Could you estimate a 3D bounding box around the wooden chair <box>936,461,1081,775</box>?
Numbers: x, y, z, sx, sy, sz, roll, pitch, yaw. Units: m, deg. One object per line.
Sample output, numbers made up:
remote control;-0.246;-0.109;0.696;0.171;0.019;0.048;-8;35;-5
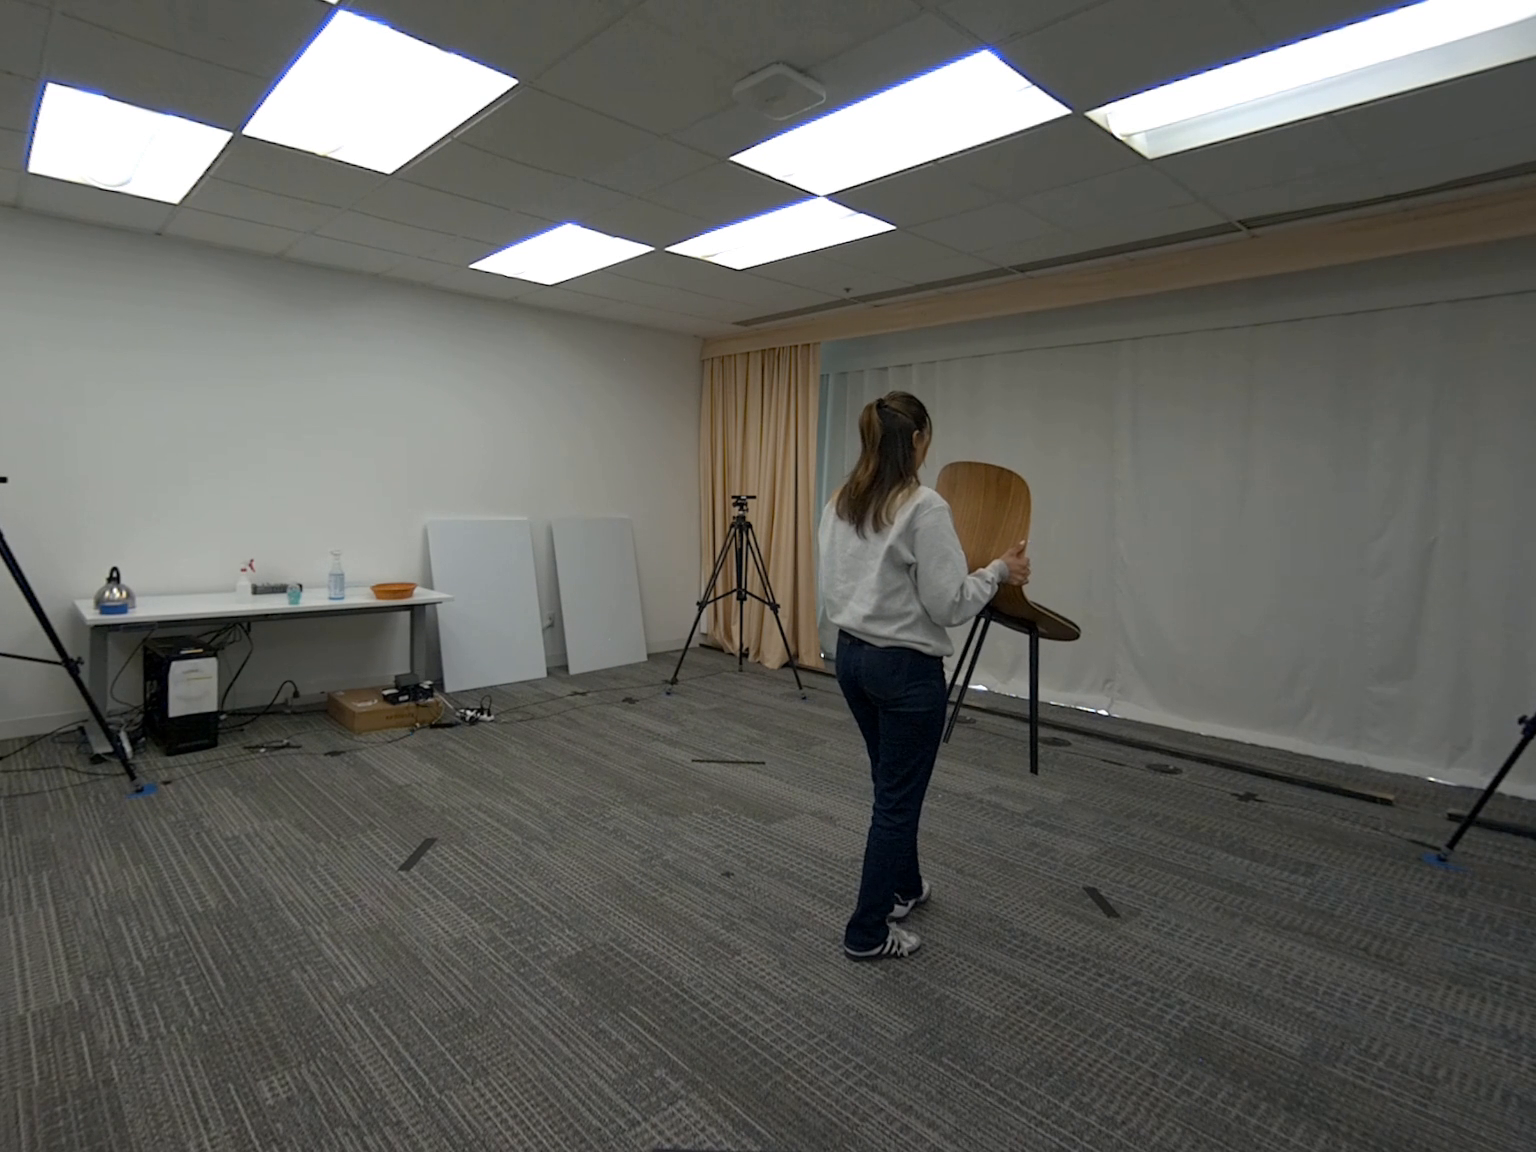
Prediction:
wooden chair;0.697;0.129;2.750;0.509;0.878;0.491;19;-2;-34
